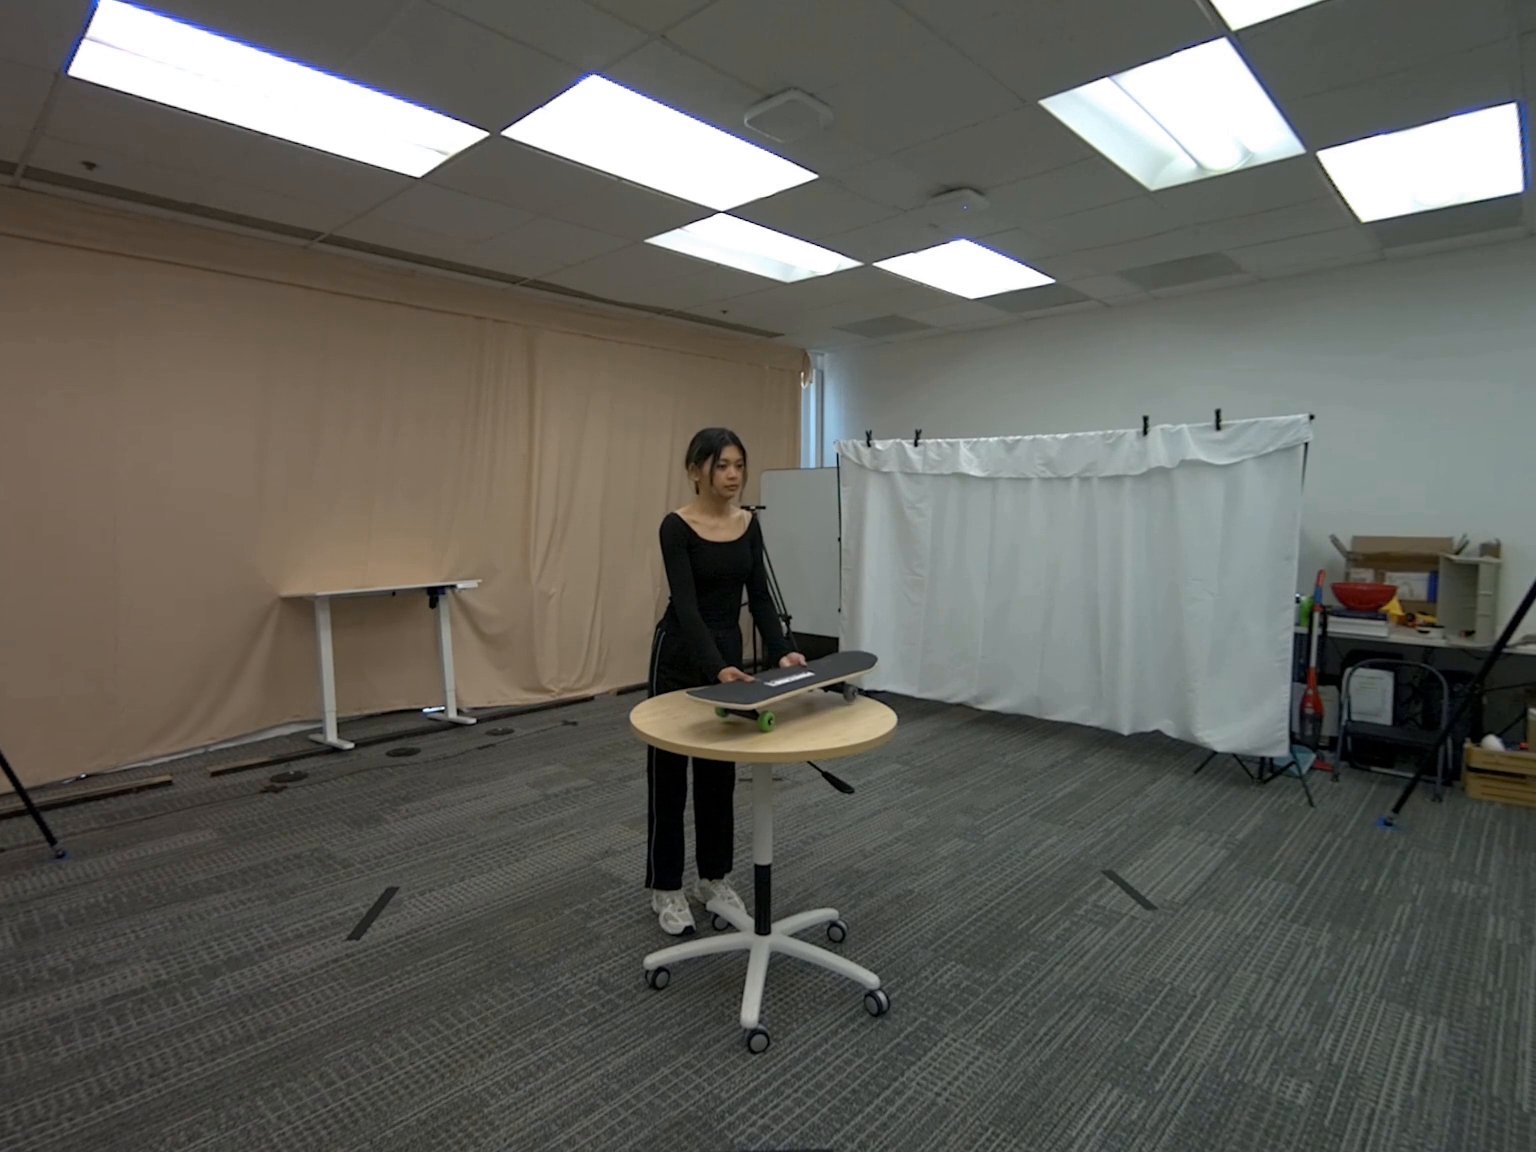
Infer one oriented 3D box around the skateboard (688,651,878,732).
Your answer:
[{"bbox_3d":[0.073,0.333,2.419,0.200,0.110,0.762,9,11,40],"label":"skateboard"}]
